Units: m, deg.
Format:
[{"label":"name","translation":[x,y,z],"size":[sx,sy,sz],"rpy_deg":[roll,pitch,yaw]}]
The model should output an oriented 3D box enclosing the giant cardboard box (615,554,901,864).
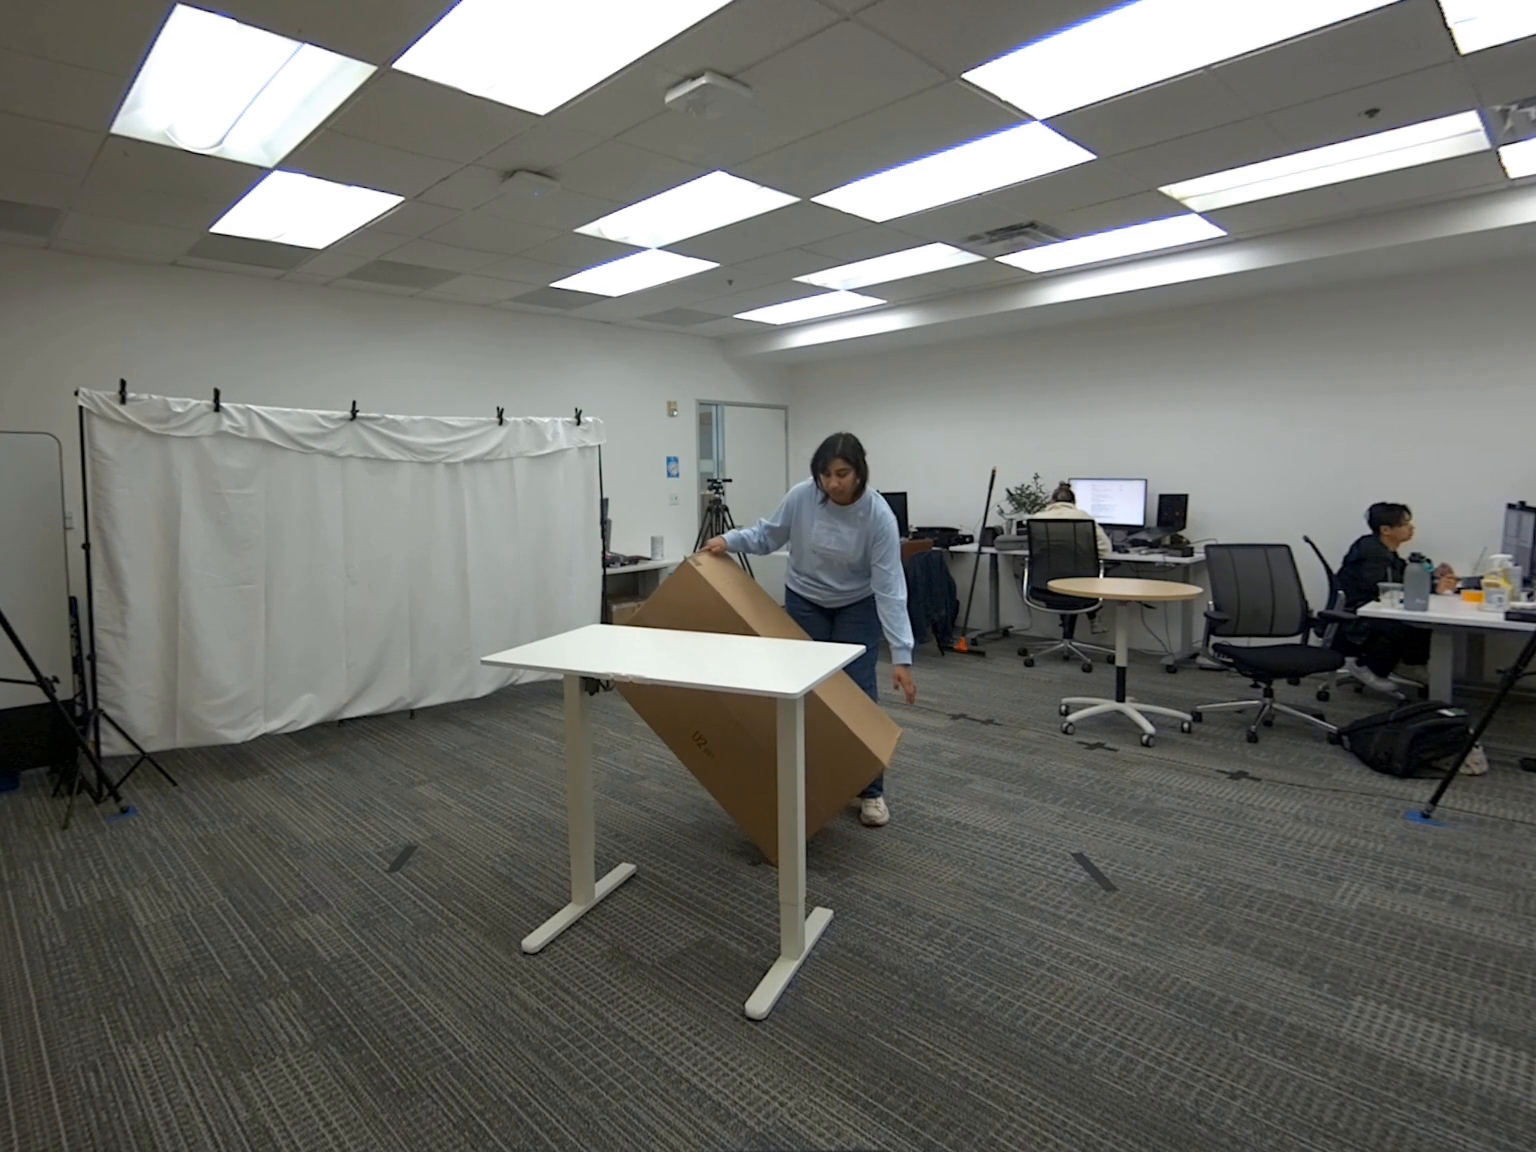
[{"label":"giant cardboard box","translation":[-0.076,0.467,3.293],"size":[1.041,0.577,0.420],"rpy_deg":[45,15,11]}]
